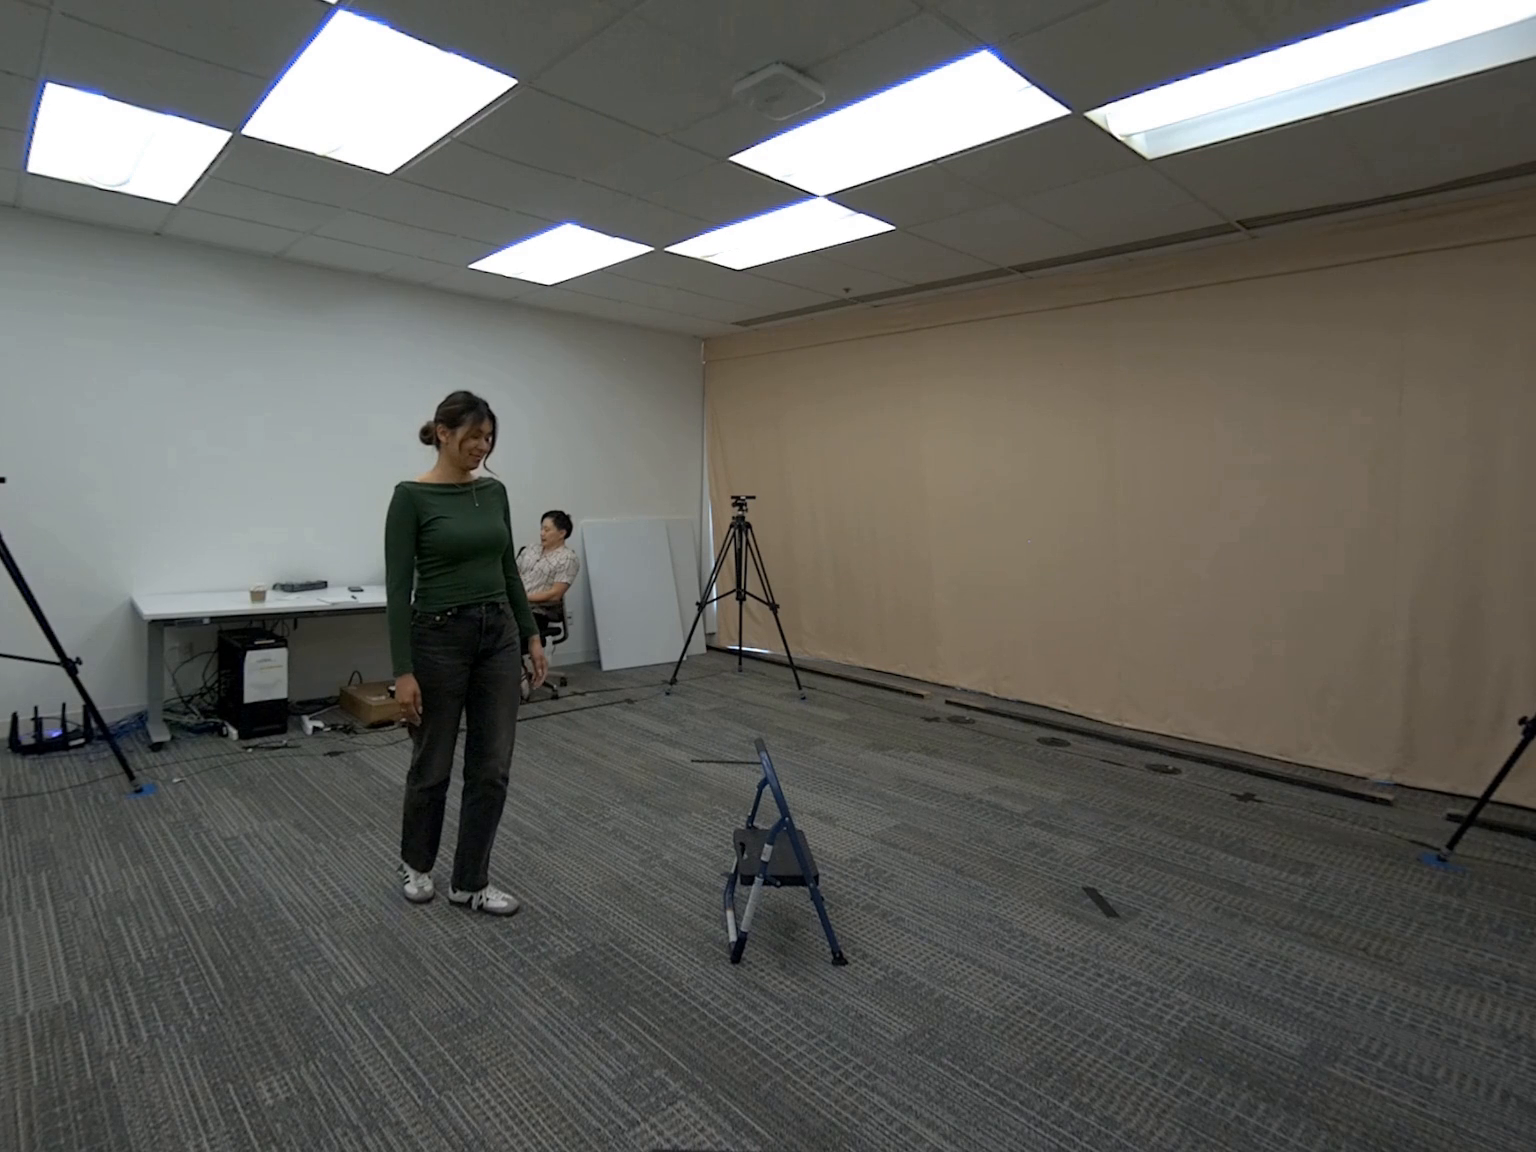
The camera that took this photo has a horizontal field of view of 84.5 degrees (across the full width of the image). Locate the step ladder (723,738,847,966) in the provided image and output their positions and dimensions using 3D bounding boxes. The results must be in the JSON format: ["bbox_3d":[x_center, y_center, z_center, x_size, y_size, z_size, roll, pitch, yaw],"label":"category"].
[{"bbox_3d":[0.037,0.845,2.701,0.348,0.604,0.434,1,4,-6],"label":"step ladder"}]
